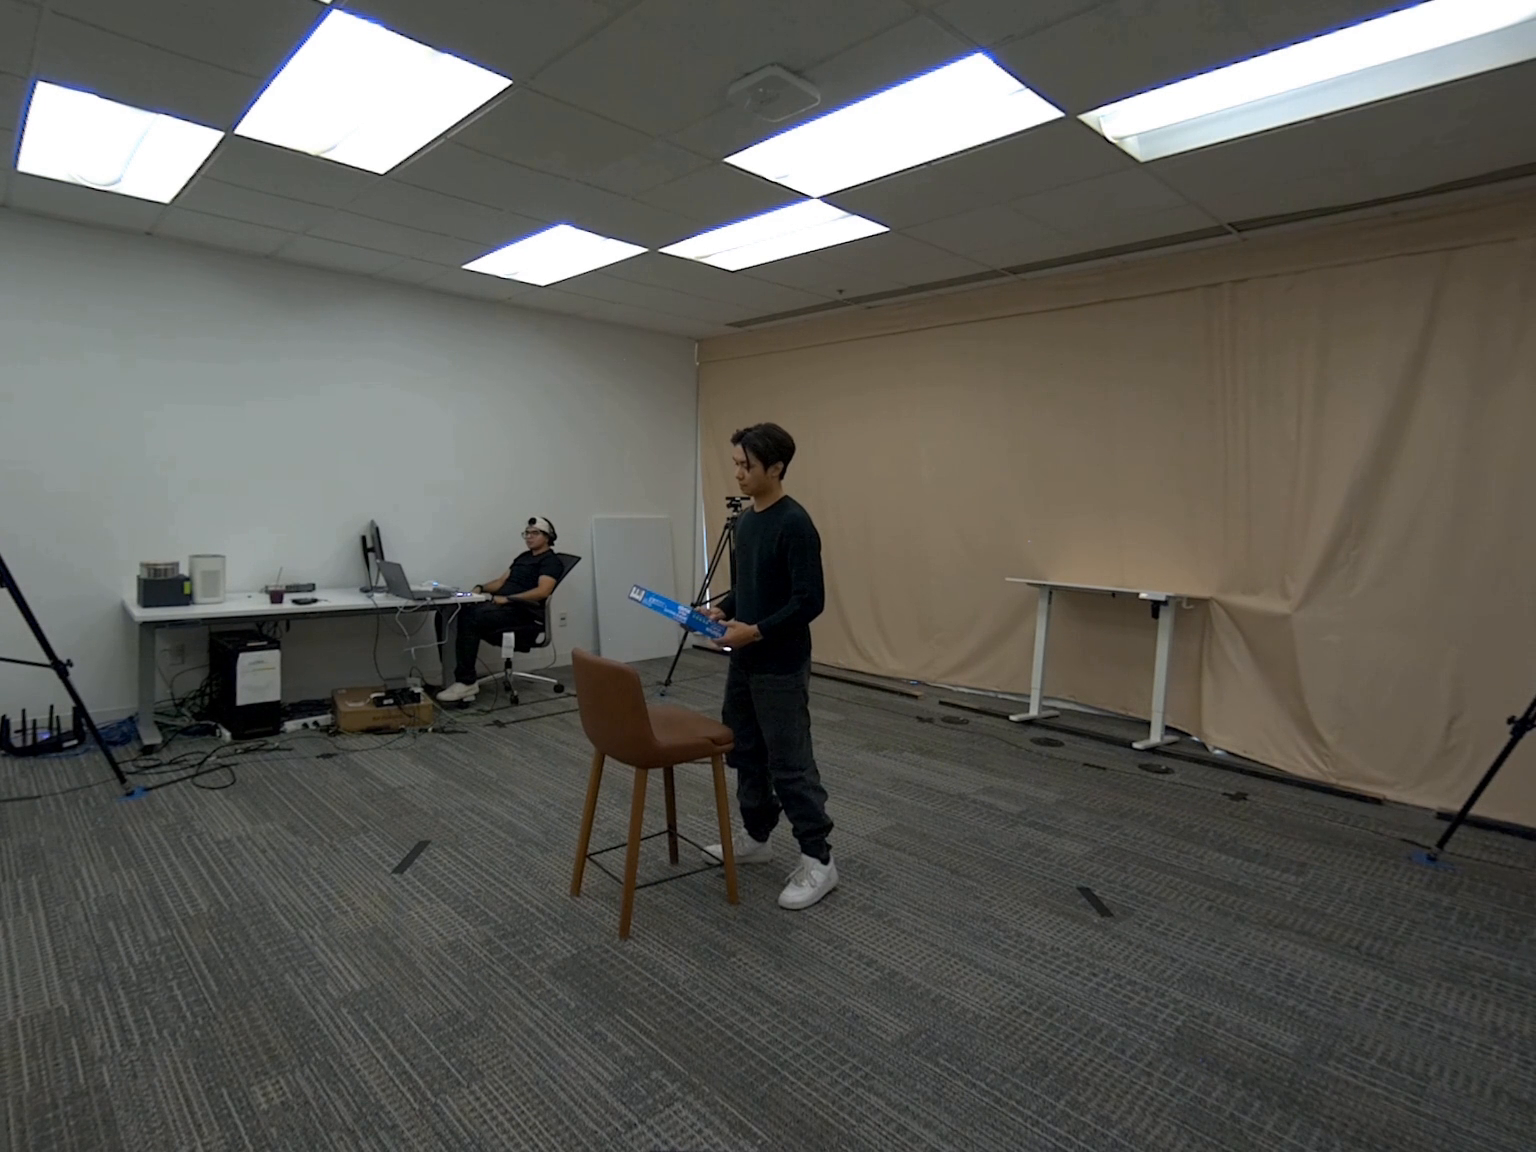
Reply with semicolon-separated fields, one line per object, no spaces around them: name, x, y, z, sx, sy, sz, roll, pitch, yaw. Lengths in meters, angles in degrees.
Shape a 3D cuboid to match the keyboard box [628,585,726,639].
keyboard box;-0.343;0.131;3.108;0.171;0.059;0.449;30;-7;-37
